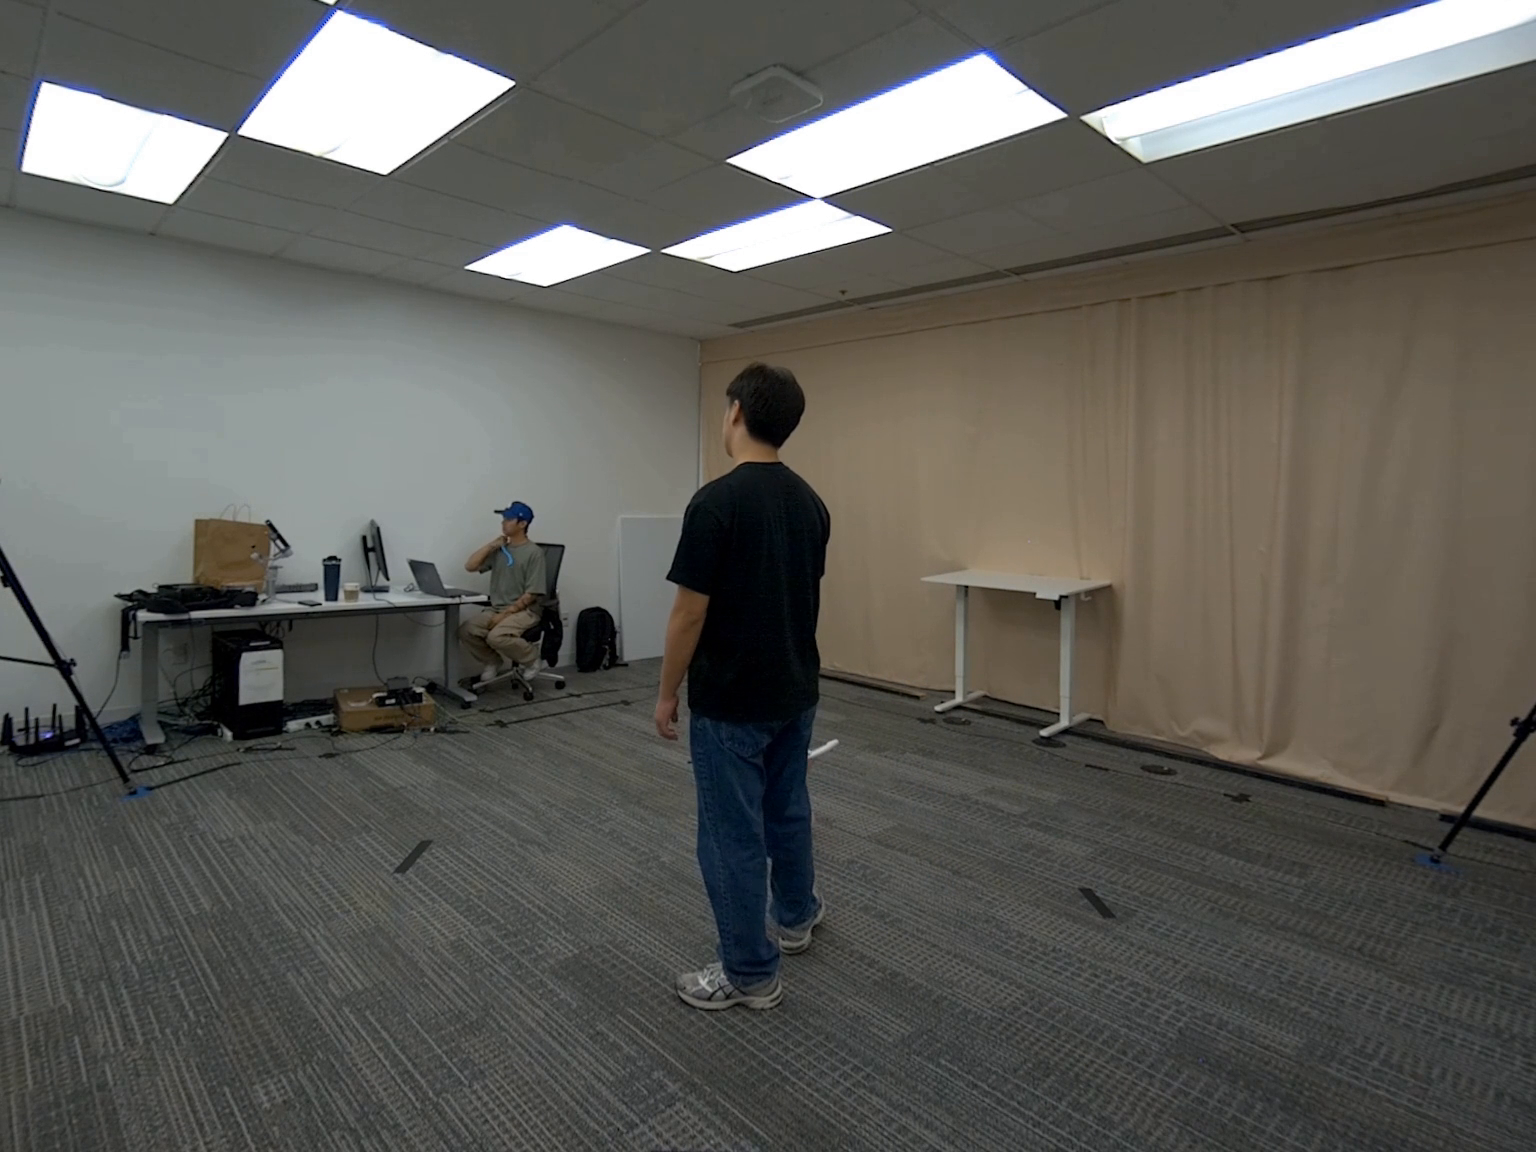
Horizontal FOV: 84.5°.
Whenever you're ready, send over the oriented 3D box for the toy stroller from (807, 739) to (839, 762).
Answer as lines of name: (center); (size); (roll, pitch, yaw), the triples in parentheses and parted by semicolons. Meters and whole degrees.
toy stroller: (0.042, 0.861, 3.450); (0.350, 0.532, 0.276); (23, 12, 28)
